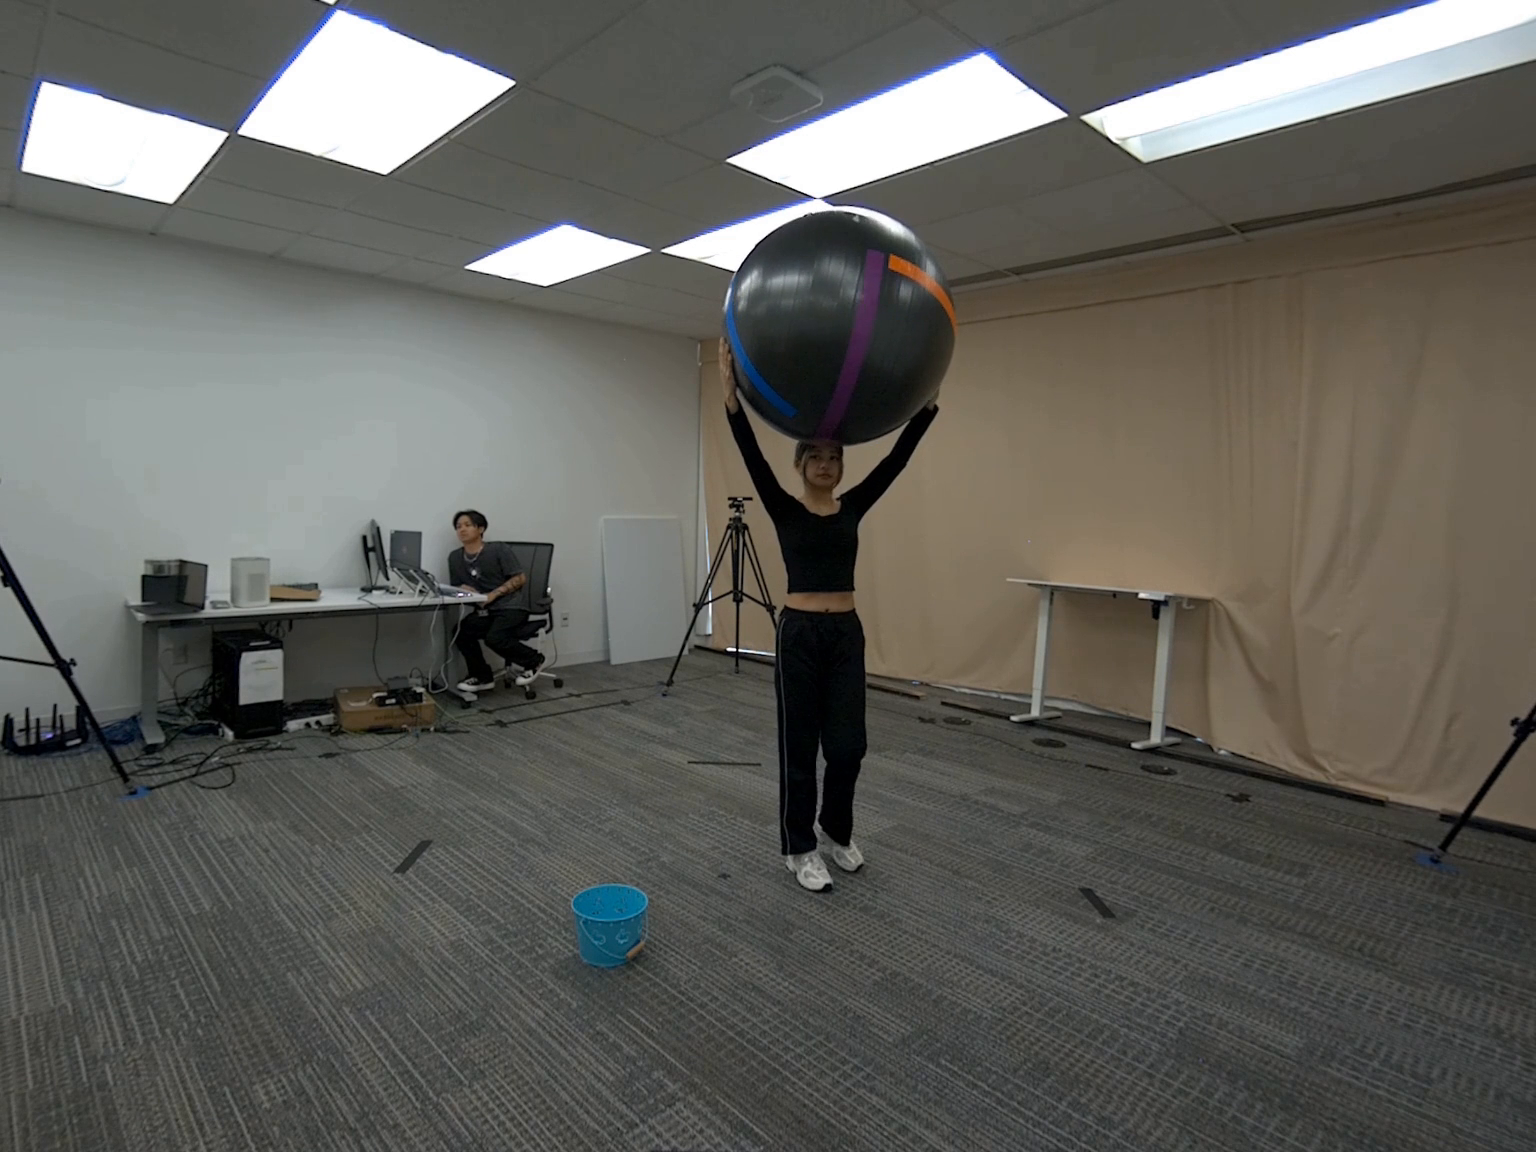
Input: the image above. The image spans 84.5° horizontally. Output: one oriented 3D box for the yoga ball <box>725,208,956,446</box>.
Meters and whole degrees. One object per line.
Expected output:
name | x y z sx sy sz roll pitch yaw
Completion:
yoga ball | 0.221 -0.800 2.759 0.757 0.756 0.761 1 4 -1
